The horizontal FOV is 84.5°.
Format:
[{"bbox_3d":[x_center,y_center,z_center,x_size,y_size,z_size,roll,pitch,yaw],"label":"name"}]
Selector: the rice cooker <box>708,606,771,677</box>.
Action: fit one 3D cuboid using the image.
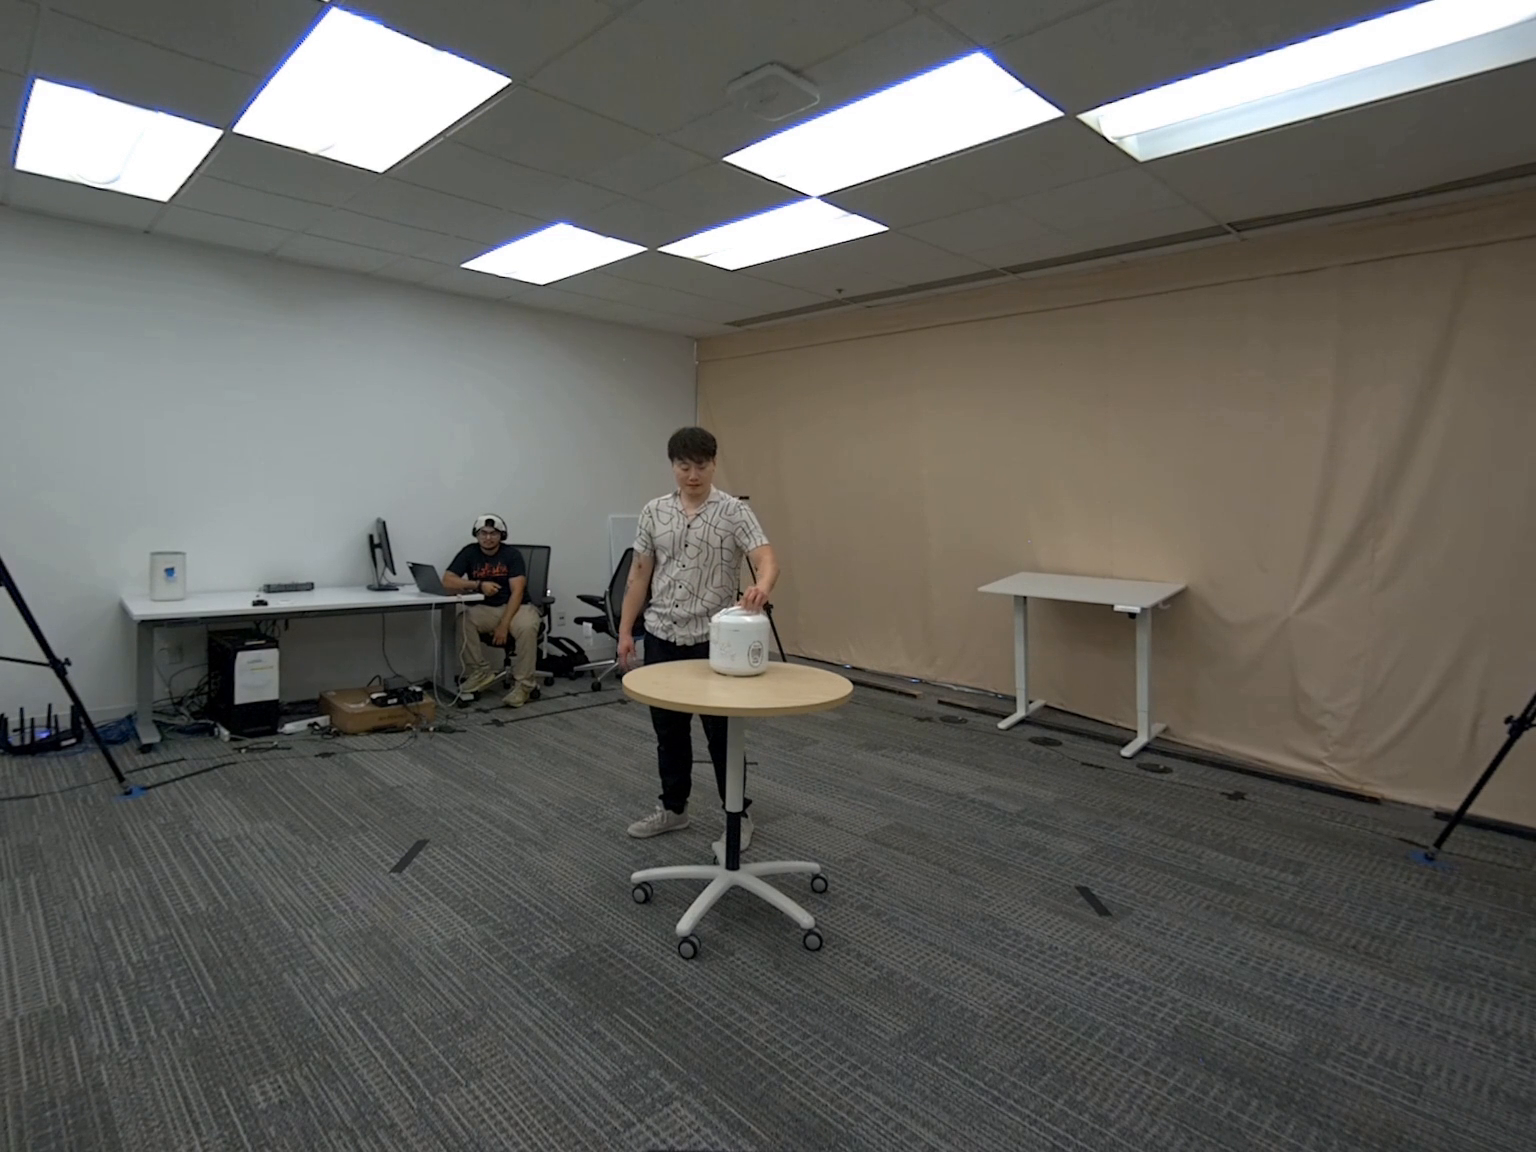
[{"bbox_3d":[-0.101,0.222,2.942,0.216,0.232,0.222,-1,5,-32],"label":"rice cooker"}]
